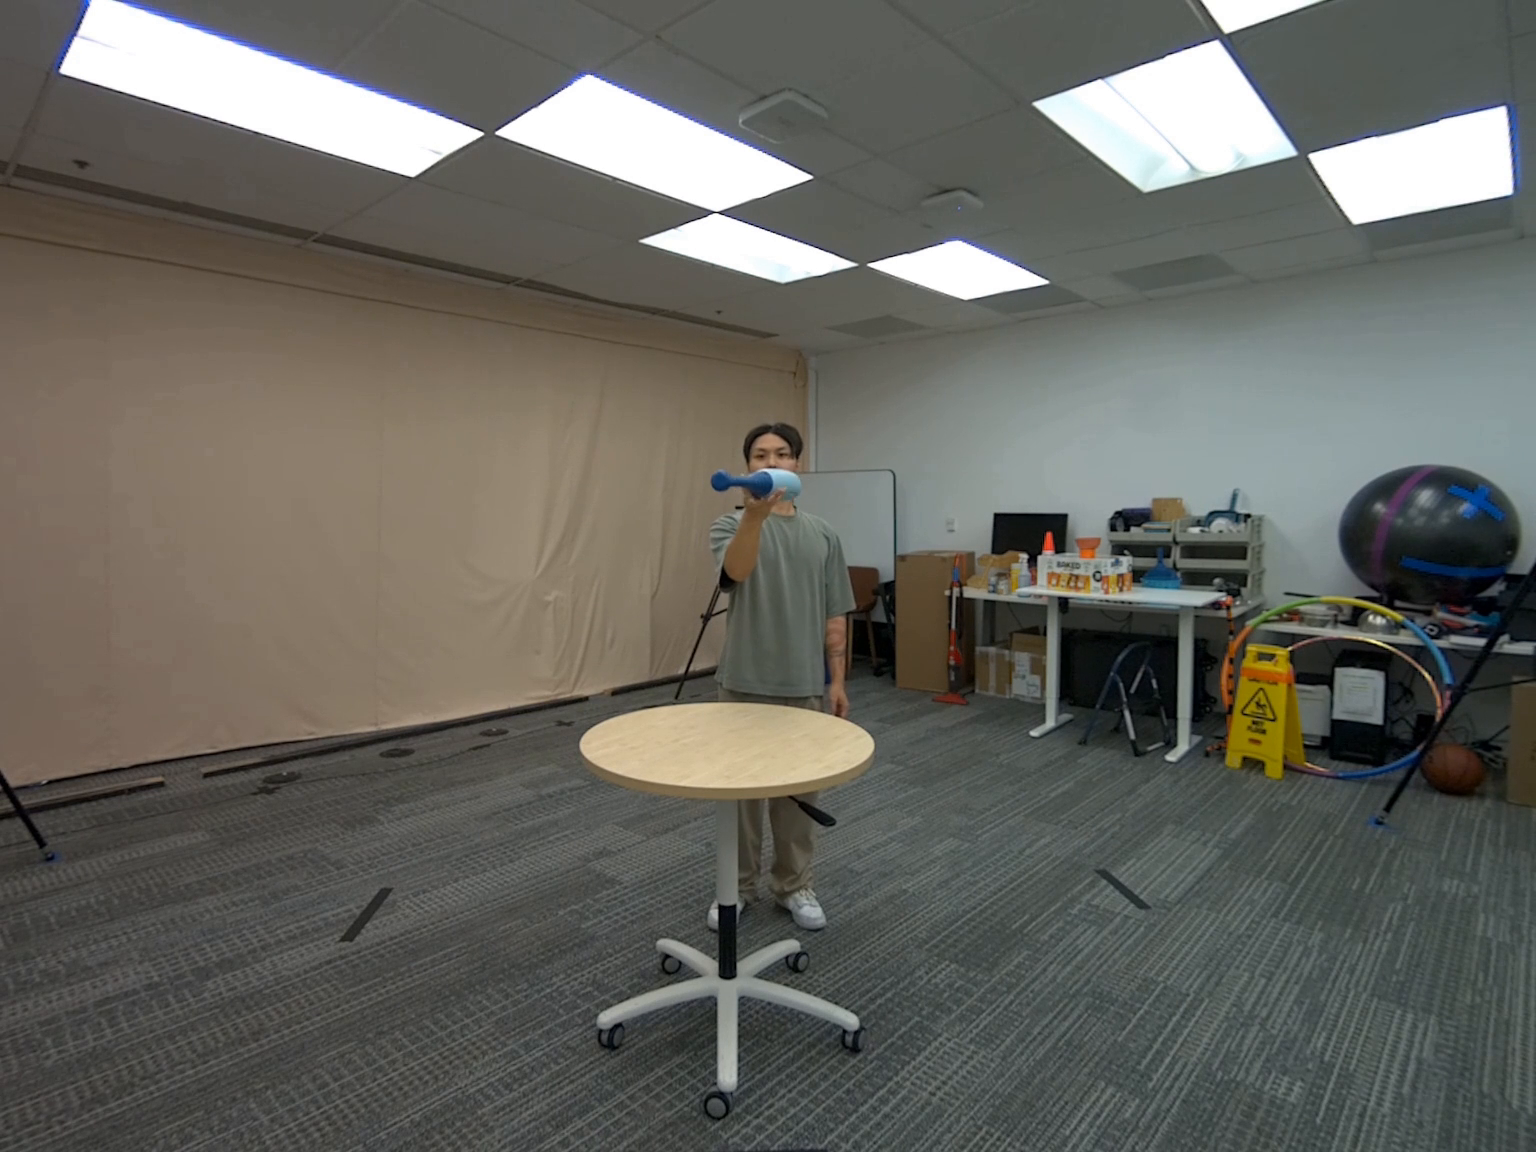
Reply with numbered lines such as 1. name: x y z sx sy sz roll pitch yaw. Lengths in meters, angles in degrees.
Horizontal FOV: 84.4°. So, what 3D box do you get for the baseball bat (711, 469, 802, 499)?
1. baseball bat: -0.022 -0.236 2.193 0.091 0.089 0.533 1 6 19
